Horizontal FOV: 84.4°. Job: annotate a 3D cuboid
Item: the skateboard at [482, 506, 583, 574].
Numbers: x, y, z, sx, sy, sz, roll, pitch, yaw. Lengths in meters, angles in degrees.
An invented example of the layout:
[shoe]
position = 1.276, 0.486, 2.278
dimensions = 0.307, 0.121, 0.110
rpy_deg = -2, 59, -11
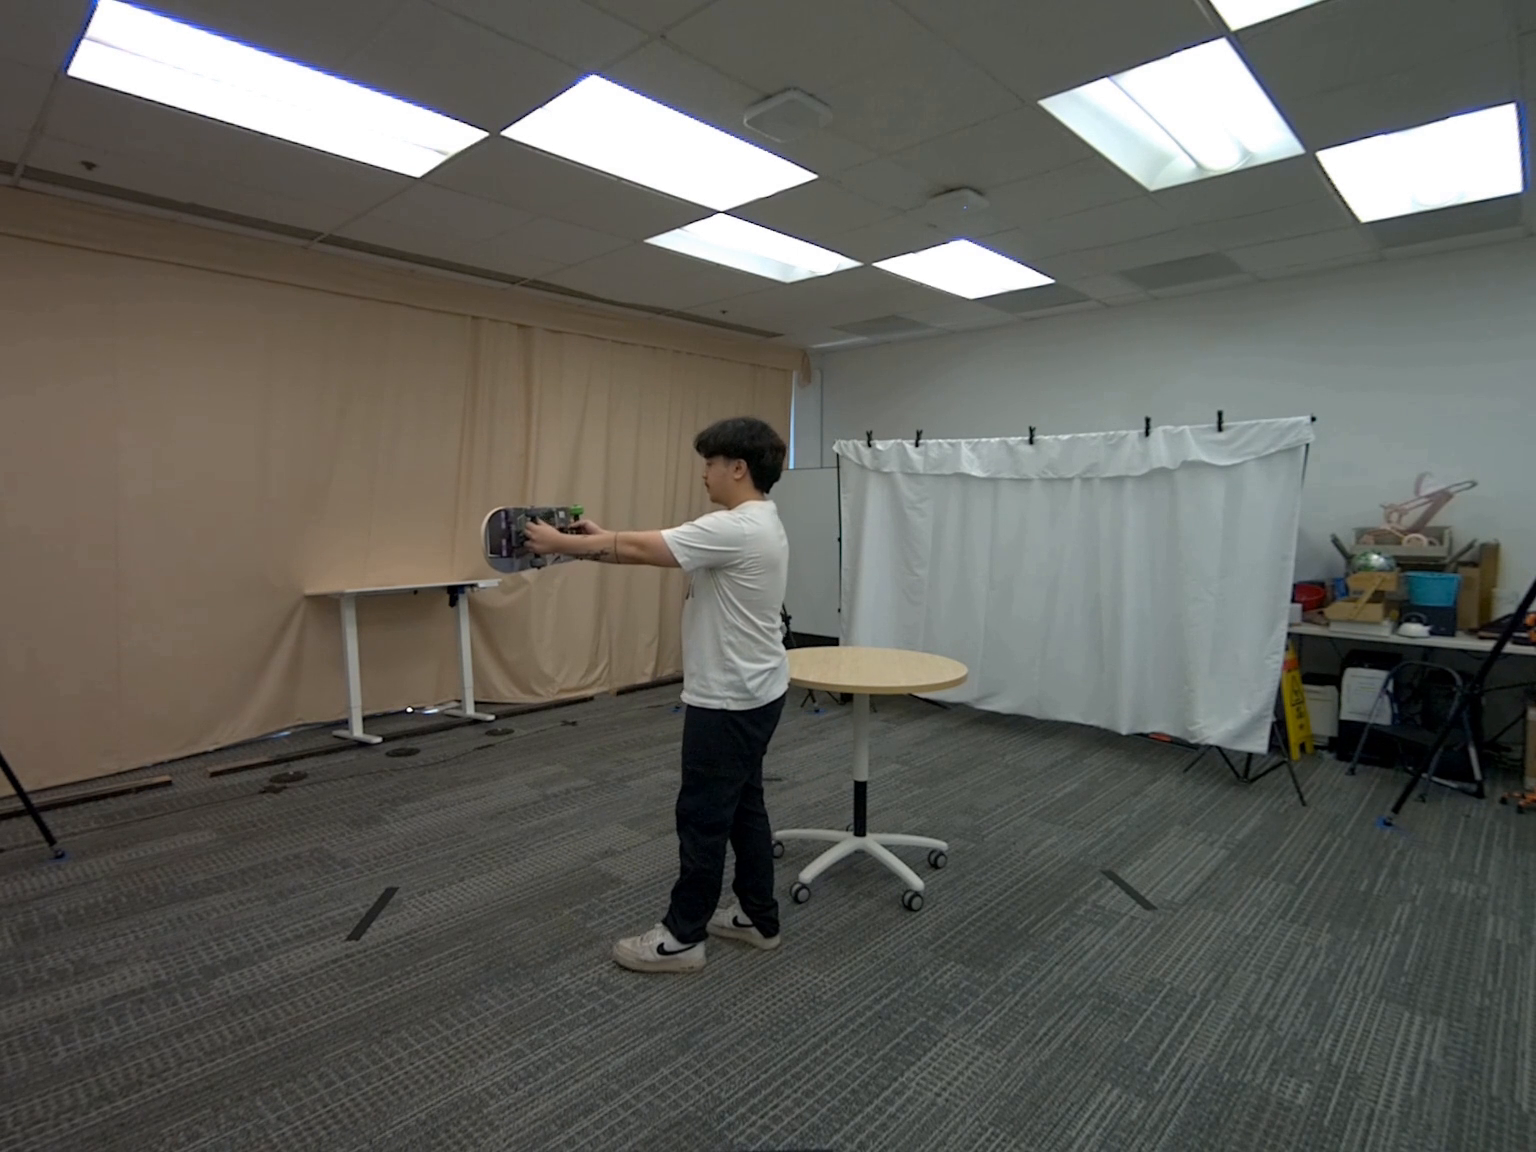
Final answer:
[skateboard]
position = -0.697, -0.126, 2.719
dimensions = 0.111, 0.193, 0.778
rpy_deg = -6, 4, 9
